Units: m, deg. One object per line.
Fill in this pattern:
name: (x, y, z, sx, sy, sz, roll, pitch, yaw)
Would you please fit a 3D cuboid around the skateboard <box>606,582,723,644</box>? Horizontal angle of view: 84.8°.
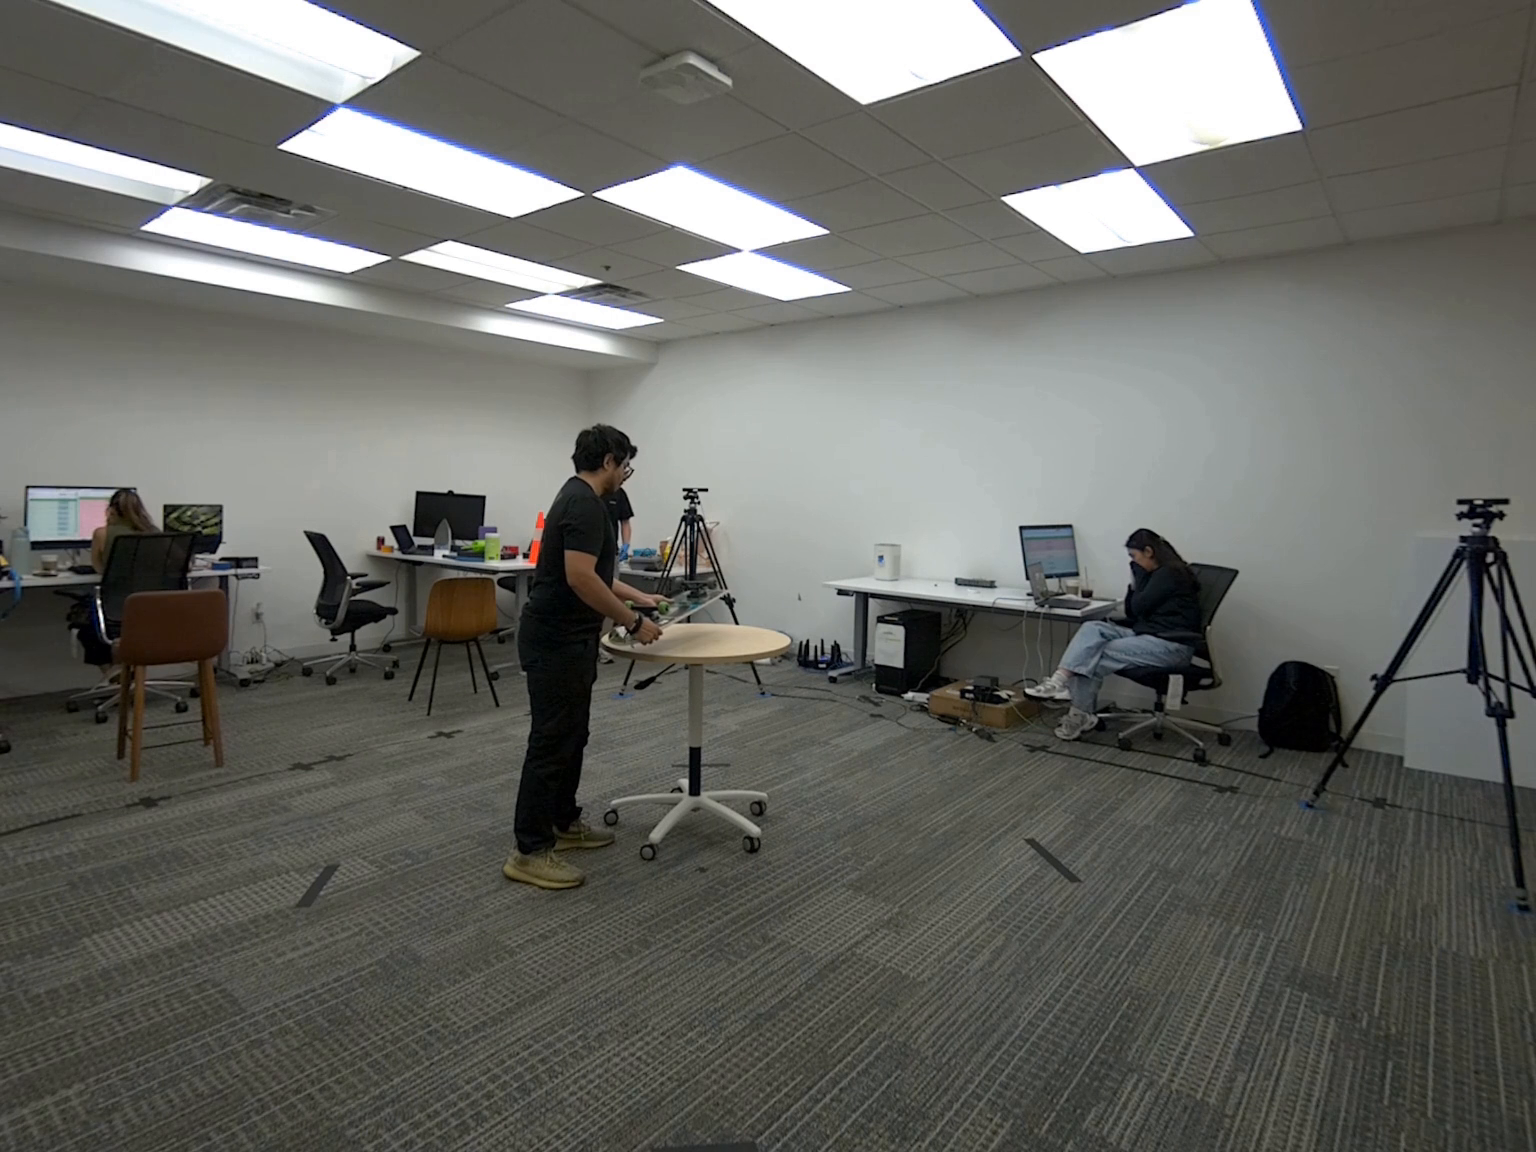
skateboard: (-0.391, 0.109, 3.411, 0.199, 0.108, 0.774, 6, 20, 29)
